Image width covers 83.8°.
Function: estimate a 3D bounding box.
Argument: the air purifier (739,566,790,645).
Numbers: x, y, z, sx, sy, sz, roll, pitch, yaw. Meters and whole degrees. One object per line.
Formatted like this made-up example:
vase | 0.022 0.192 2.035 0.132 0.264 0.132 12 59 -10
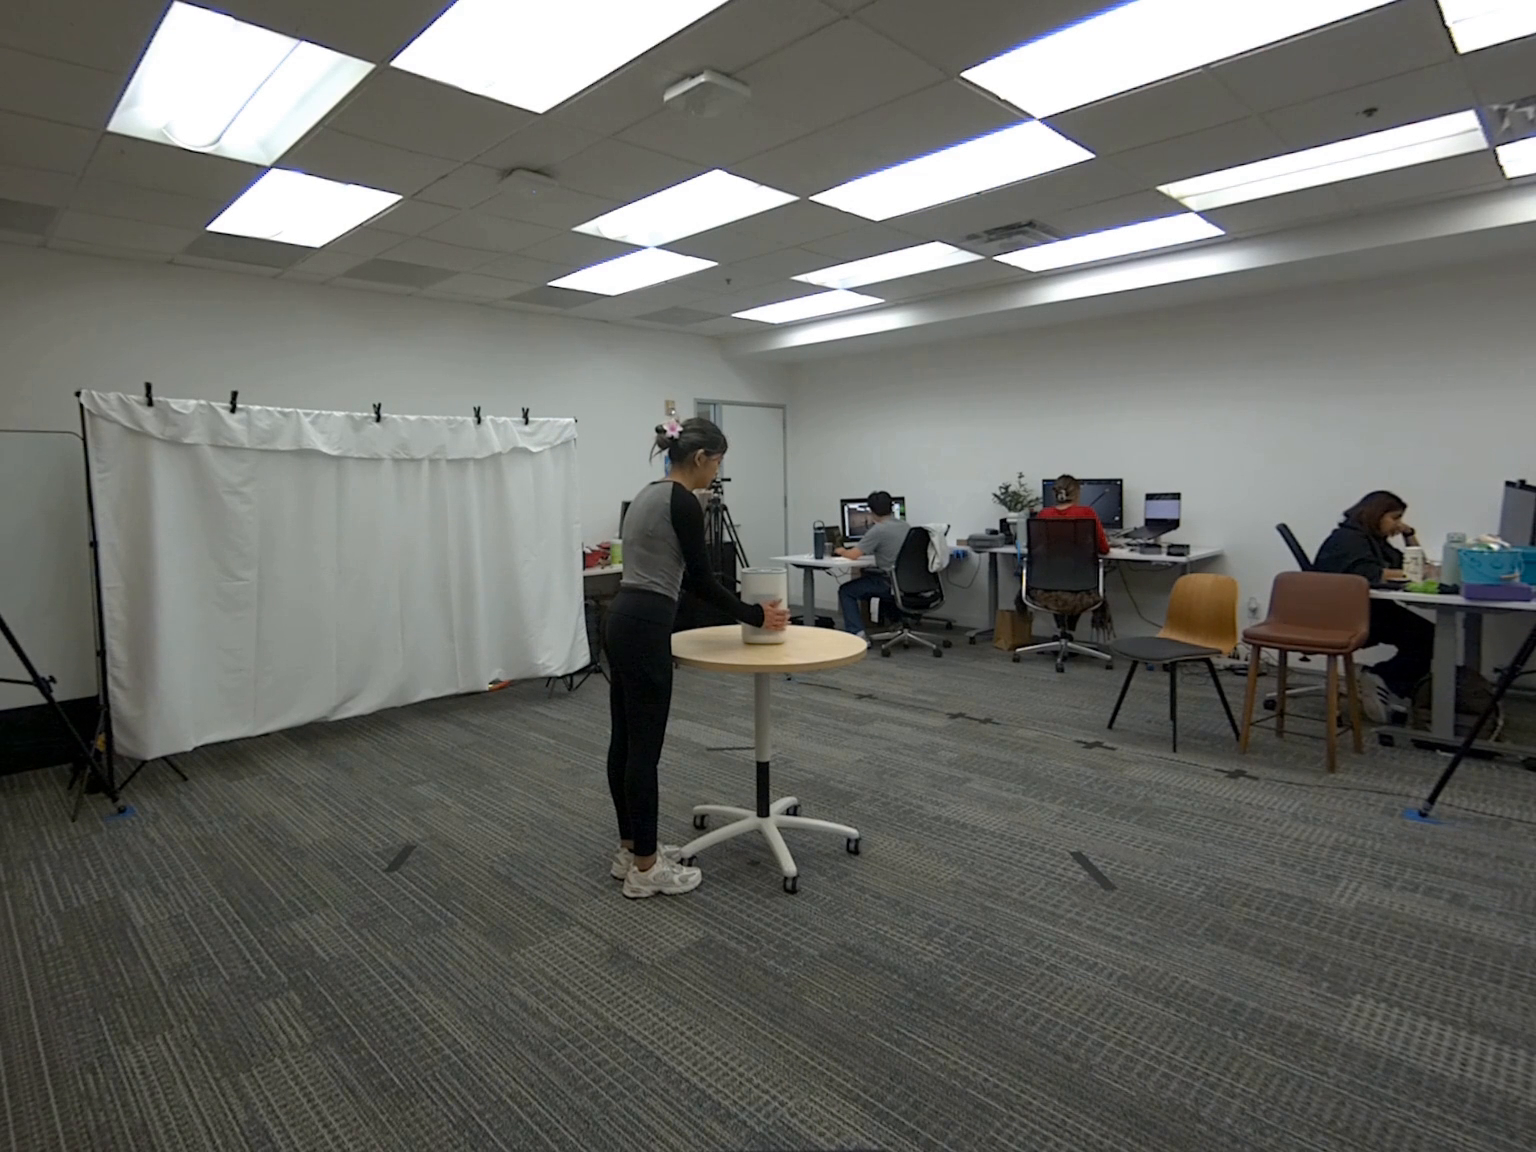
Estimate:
air purifier | -0.014 0.109 3.158 0.172 0.265 0.171 -1 3 1
